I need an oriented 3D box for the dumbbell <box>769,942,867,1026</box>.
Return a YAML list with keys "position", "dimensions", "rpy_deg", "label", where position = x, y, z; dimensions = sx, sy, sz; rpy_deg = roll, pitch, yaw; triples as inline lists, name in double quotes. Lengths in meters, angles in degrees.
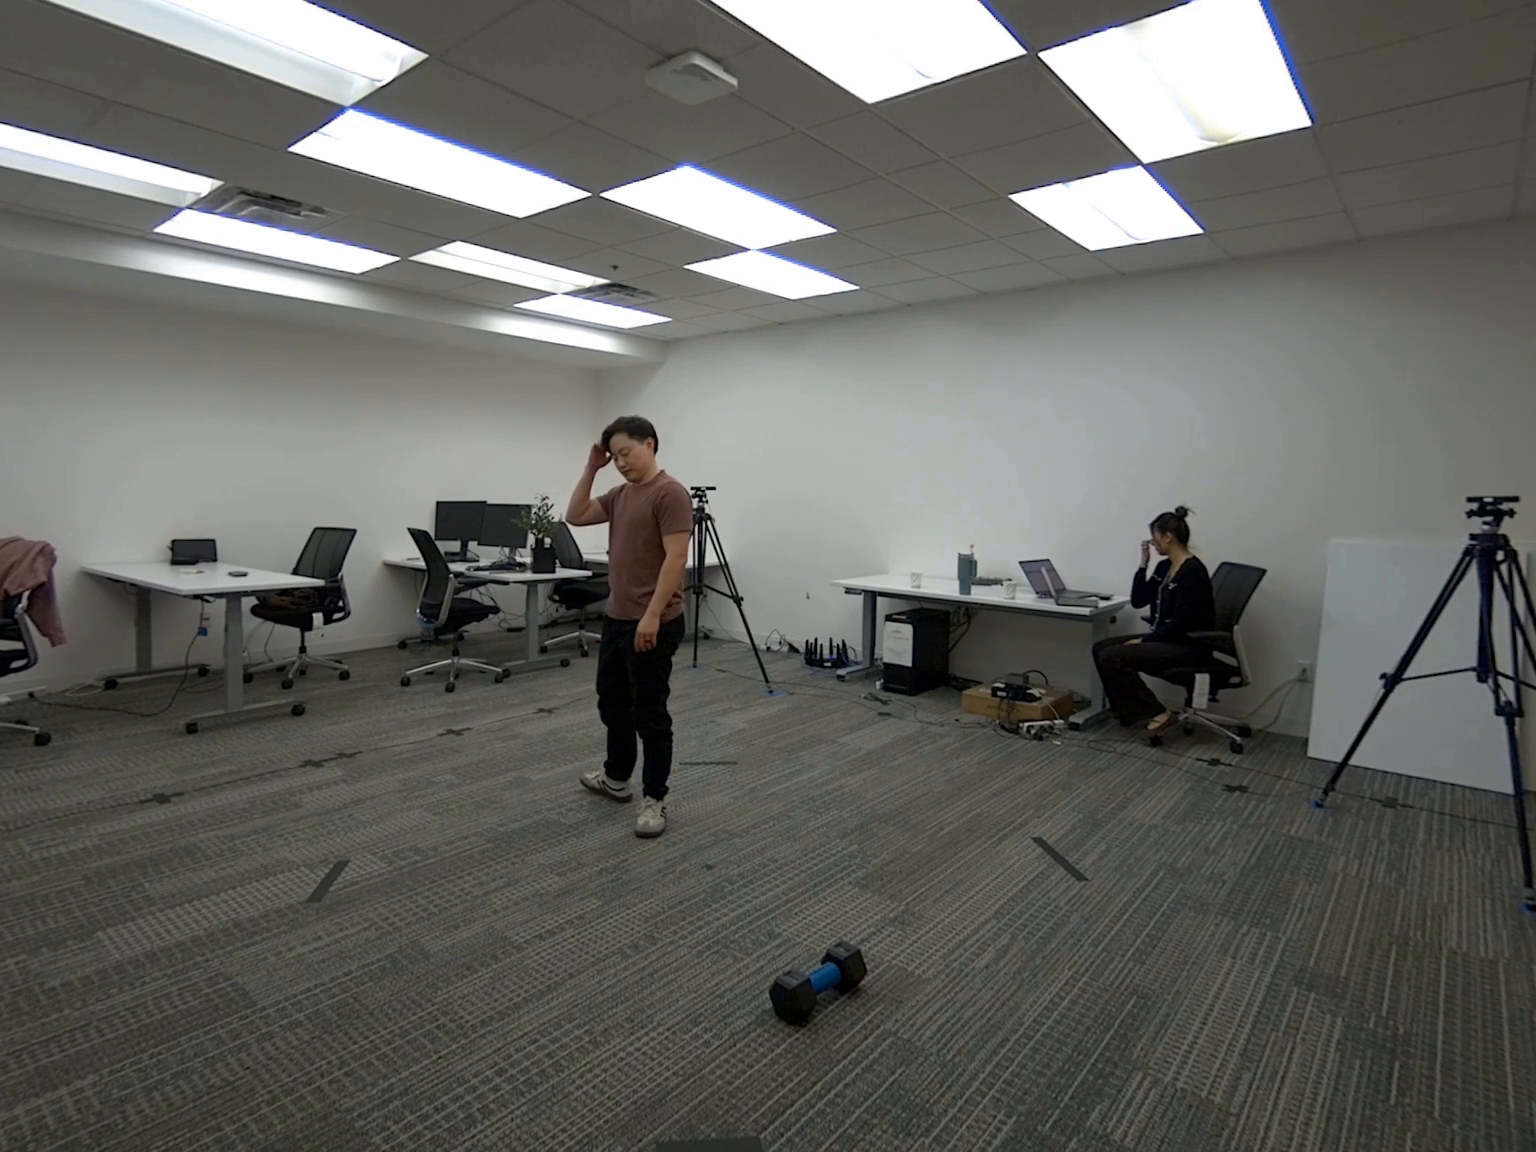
- position: [0.135, 1.098, 2.315]
  dimensions: [0.285, 0.108, 0.127]
  rpy_deg: [-4, 7, -44]
  label: "dumbbell"
